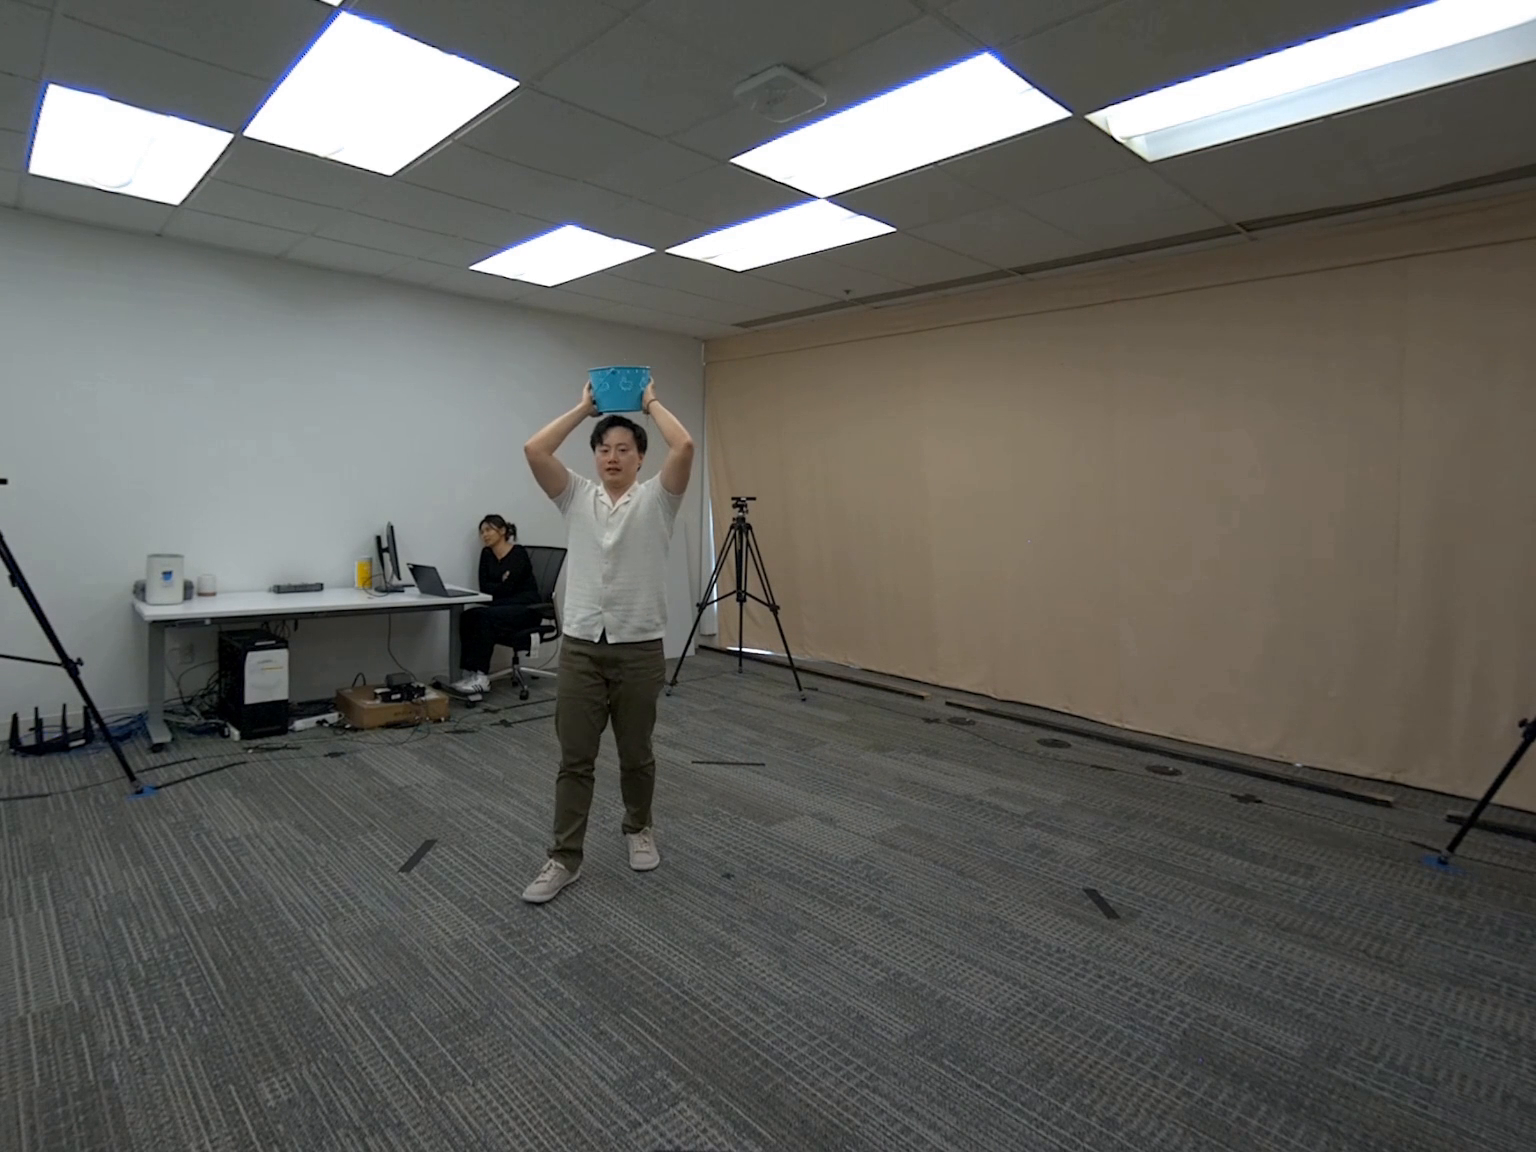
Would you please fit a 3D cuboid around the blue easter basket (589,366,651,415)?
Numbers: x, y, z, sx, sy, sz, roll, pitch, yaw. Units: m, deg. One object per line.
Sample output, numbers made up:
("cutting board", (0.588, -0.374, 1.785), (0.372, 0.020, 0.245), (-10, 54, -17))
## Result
("blue easter basket", (-0.553, -0.683, 3.084), (0.243, 0.155, 0.245), (-3, 8, -1))
